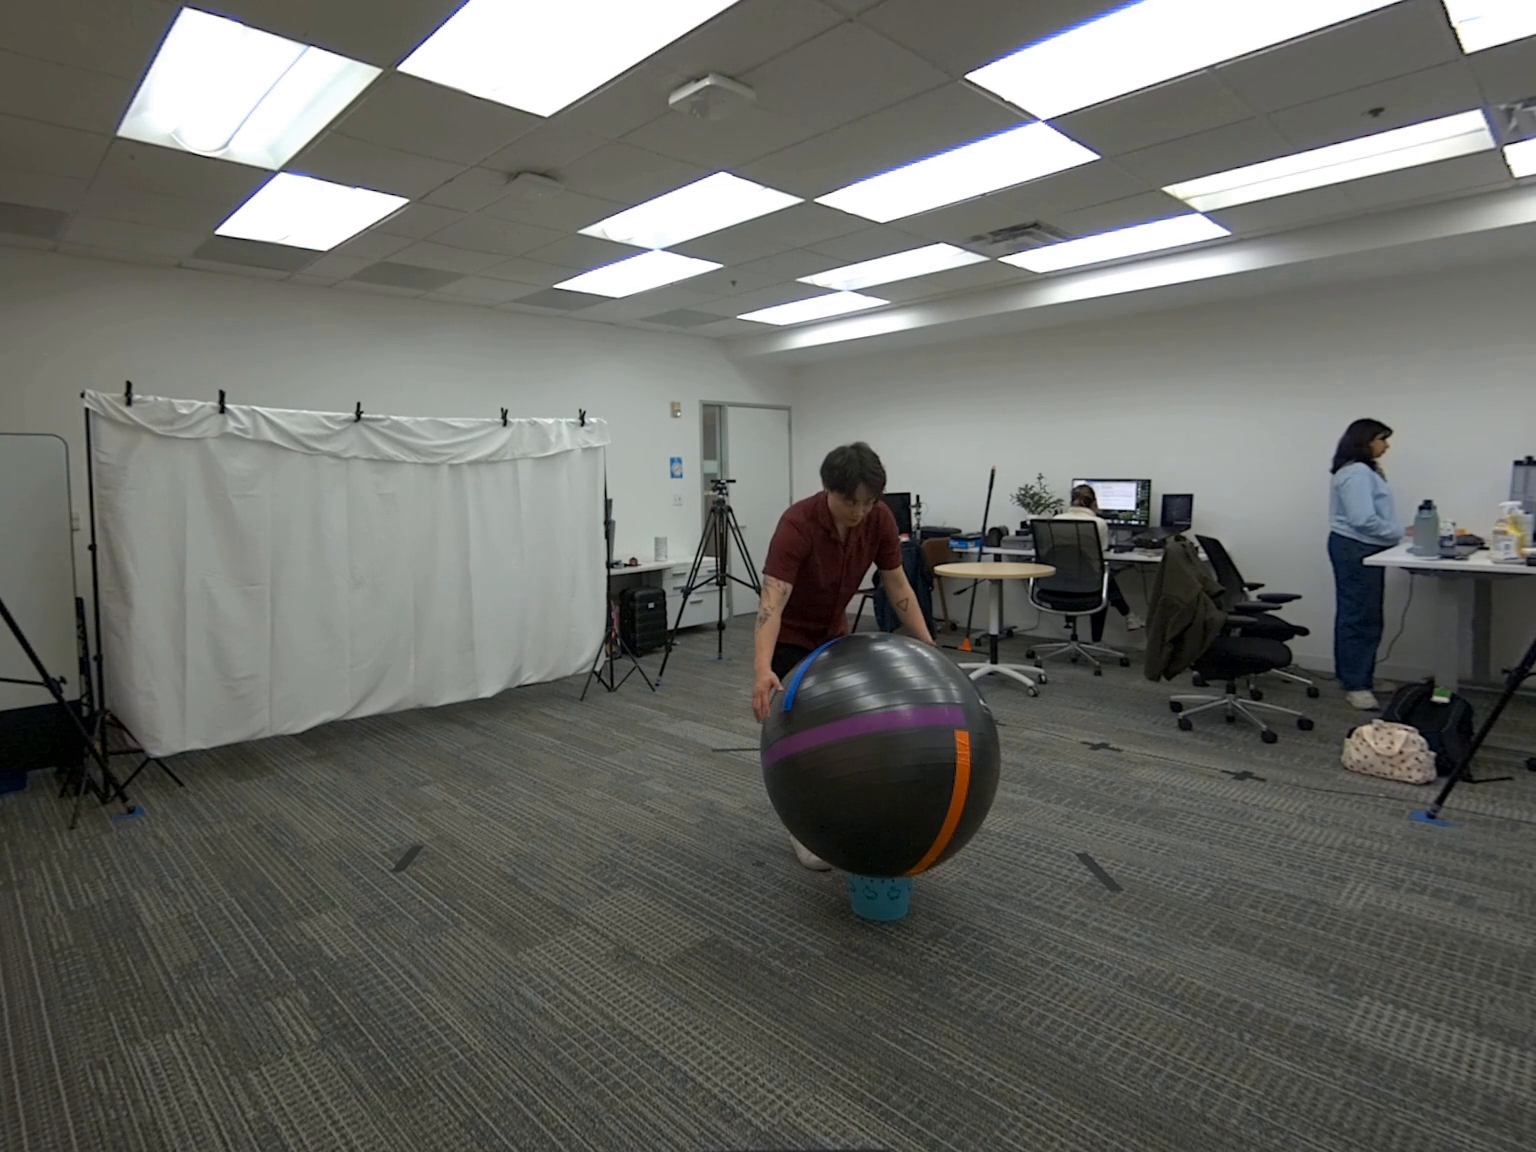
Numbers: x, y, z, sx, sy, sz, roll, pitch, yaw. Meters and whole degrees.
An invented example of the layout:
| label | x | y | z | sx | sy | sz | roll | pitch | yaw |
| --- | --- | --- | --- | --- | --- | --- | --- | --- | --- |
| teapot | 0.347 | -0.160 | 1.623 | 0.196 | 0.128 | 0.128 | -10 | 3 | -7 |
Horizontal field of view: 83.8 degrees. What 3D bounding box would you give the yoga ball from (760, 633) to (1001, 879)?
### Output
| label | x | y | z | sx | sy | sz | roll | pitch | yaw |
| --- | --- | --- | --- | --- | --- | --- | --- | --- | --- |
| yoga ball | 0.358 | 0.574 | 2.746 | 0.757 | 0.755 | 0.762 | -1 | 5 | -2 |
